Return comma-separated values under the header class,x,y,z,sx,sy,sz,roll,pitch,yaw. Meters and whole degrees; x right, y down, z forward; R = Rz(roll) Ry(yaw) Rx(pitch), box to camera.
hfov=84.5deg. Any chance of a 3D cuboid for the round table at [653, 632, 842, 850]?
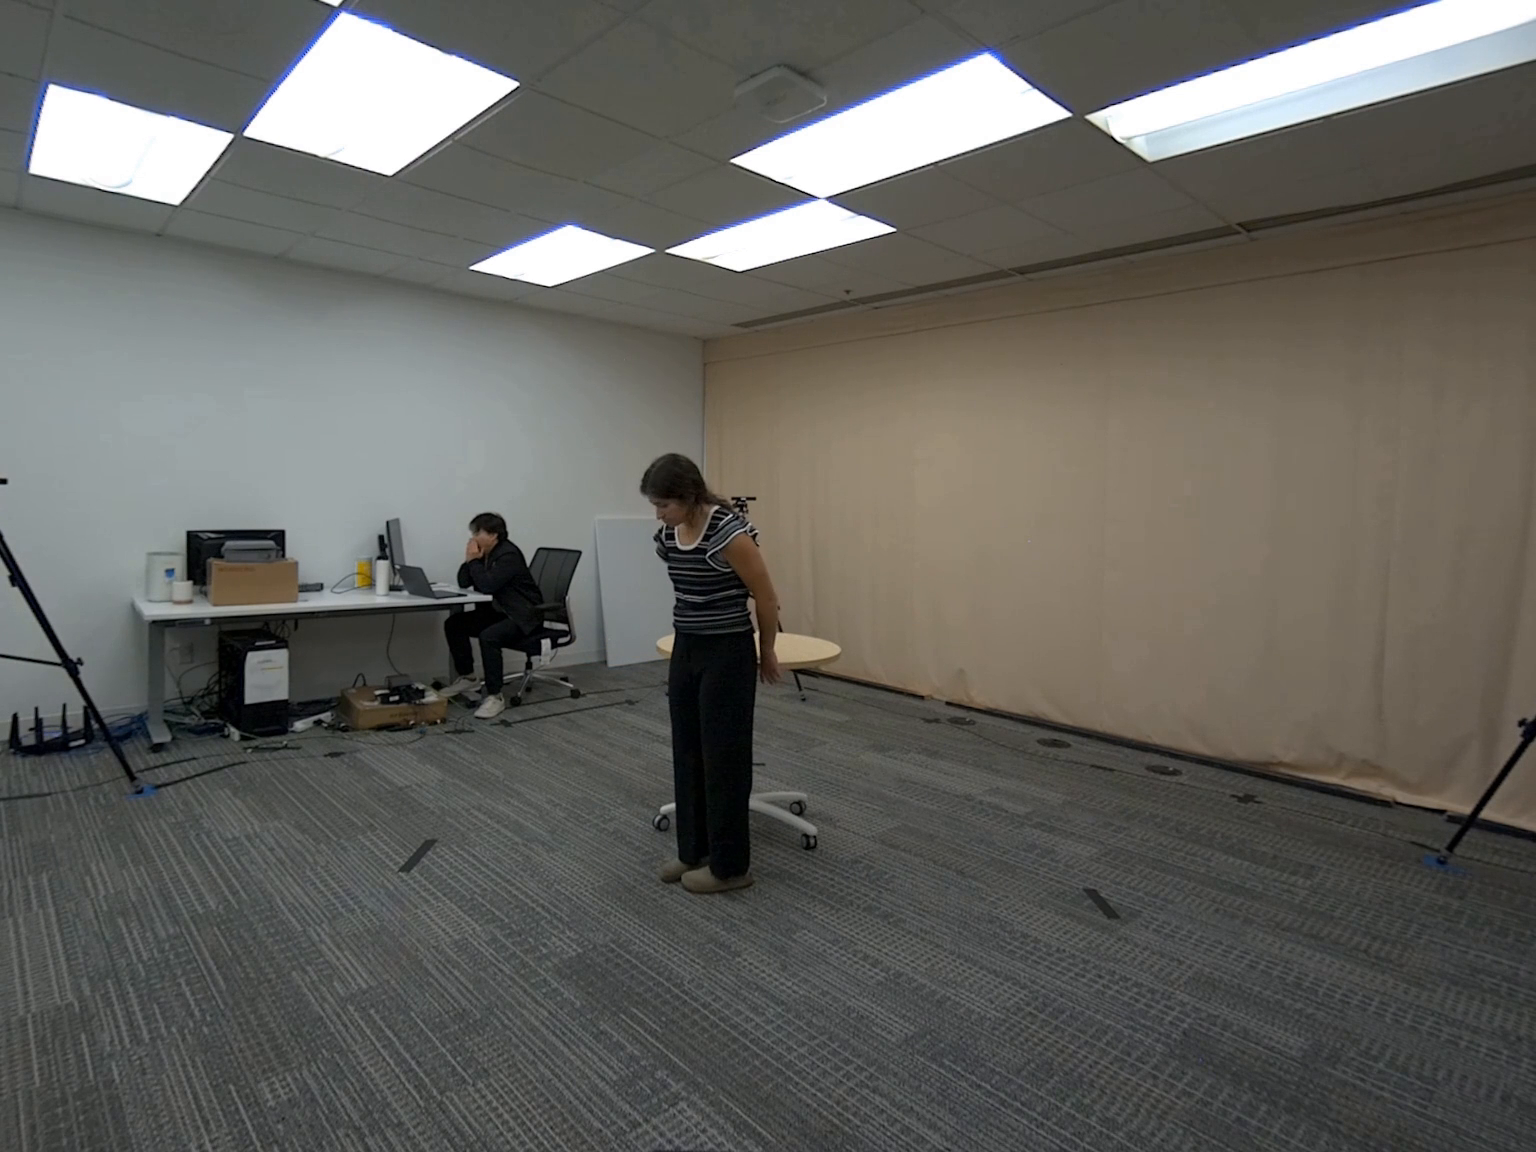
class,x,y,z,sx,sy,sz,roll,pitch,yaw
round table,-0.110,0.680,3.518,0.784,0.785,0.787,2,3,-1
